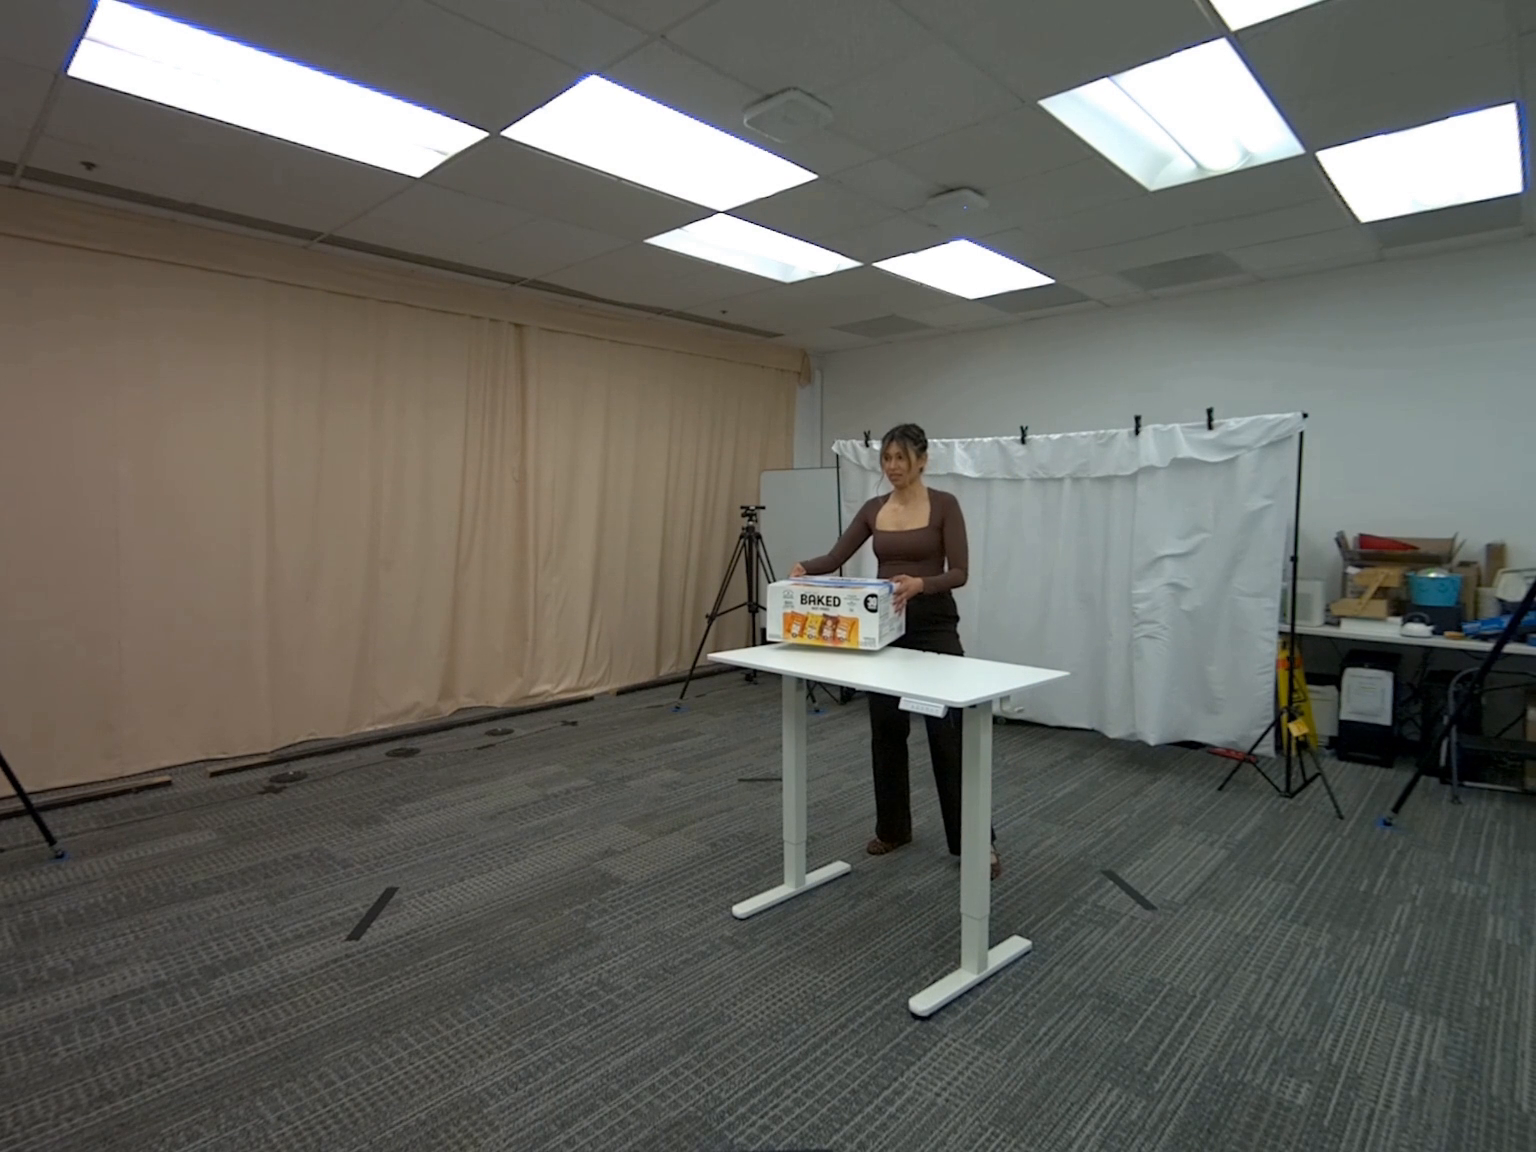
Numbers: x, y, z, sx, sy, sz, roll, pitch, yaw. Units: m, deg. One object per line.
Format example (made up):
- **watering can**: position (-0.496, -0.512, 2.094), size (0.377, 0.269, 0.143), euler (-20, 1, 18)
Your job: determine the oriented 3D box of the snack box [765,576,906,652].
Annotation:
- **snack box**: position (0.260, 0.126, 3.040), size (0.416, 0.205, 0.332), euler (3, 6, 26)
